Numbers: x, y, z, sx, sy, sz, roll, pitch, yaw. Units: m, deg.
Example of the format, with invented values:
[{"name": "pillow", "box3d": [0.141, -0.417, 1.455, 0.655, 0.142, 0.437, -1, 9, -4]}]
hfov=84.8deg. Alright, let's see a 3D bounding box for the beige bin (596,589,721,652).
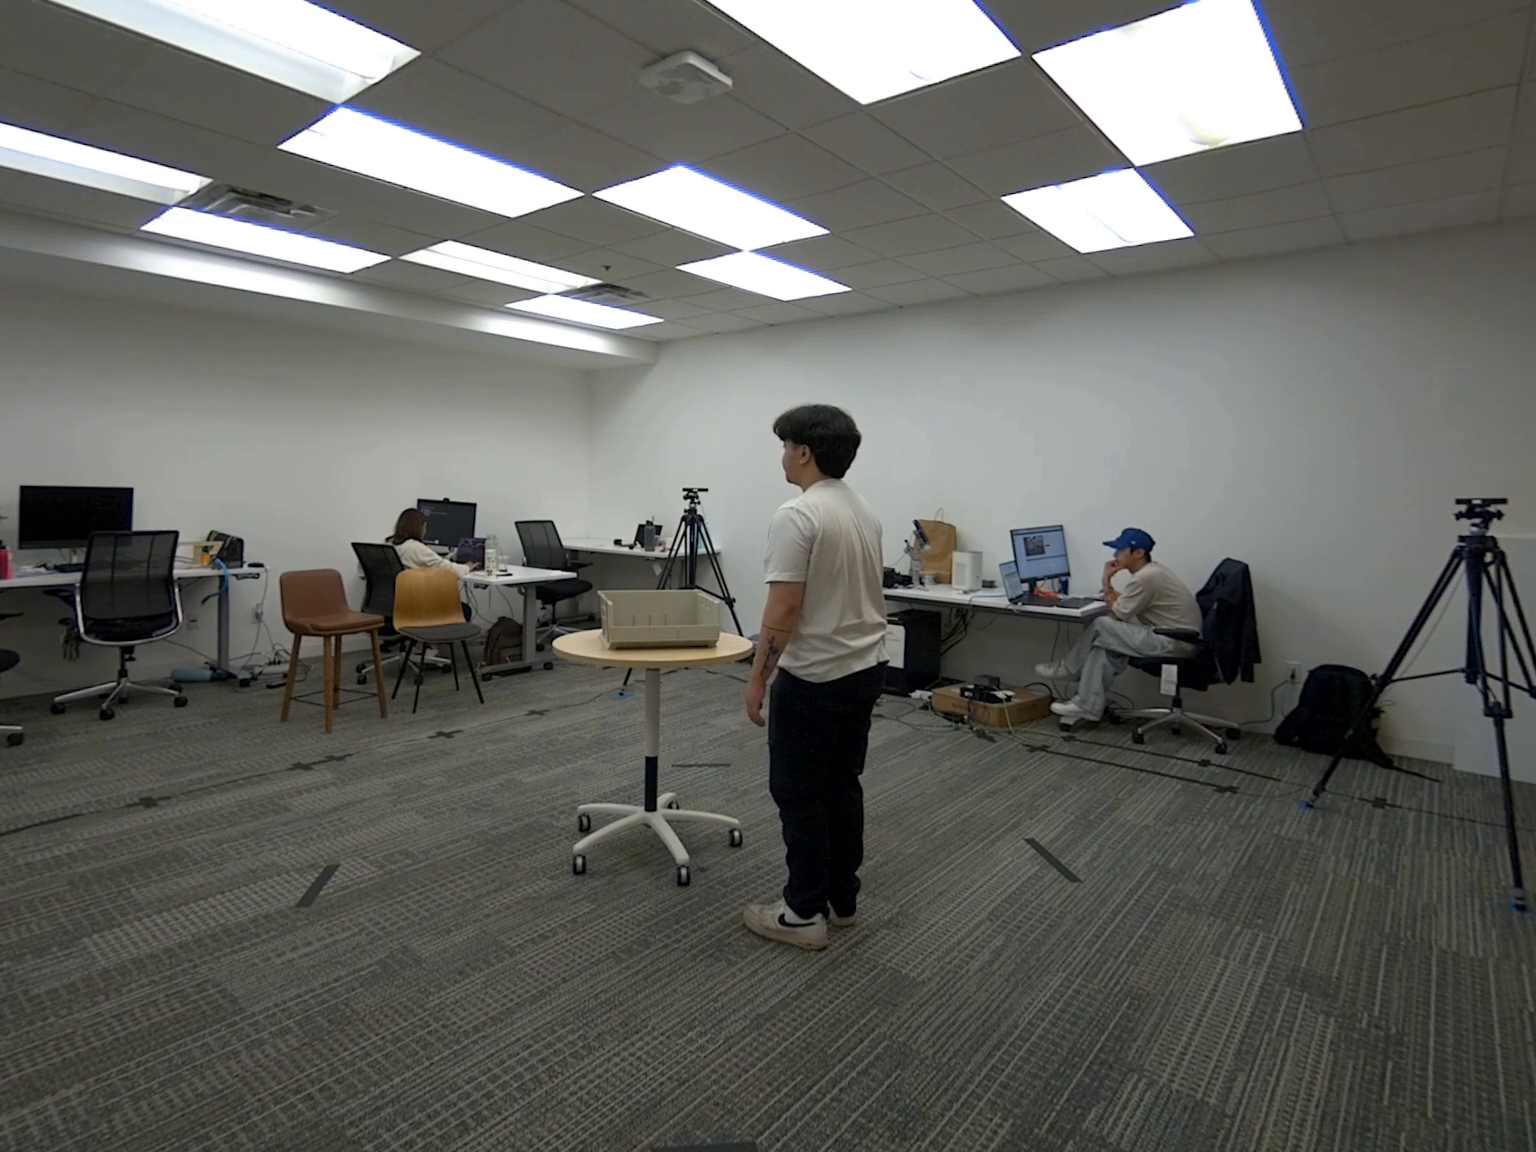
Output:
[{"name": "beige bin", "box3d": [-0.436, 0.163, 3.261, 0.416, 0.189, 0.384, -1, 3, -15]}]
